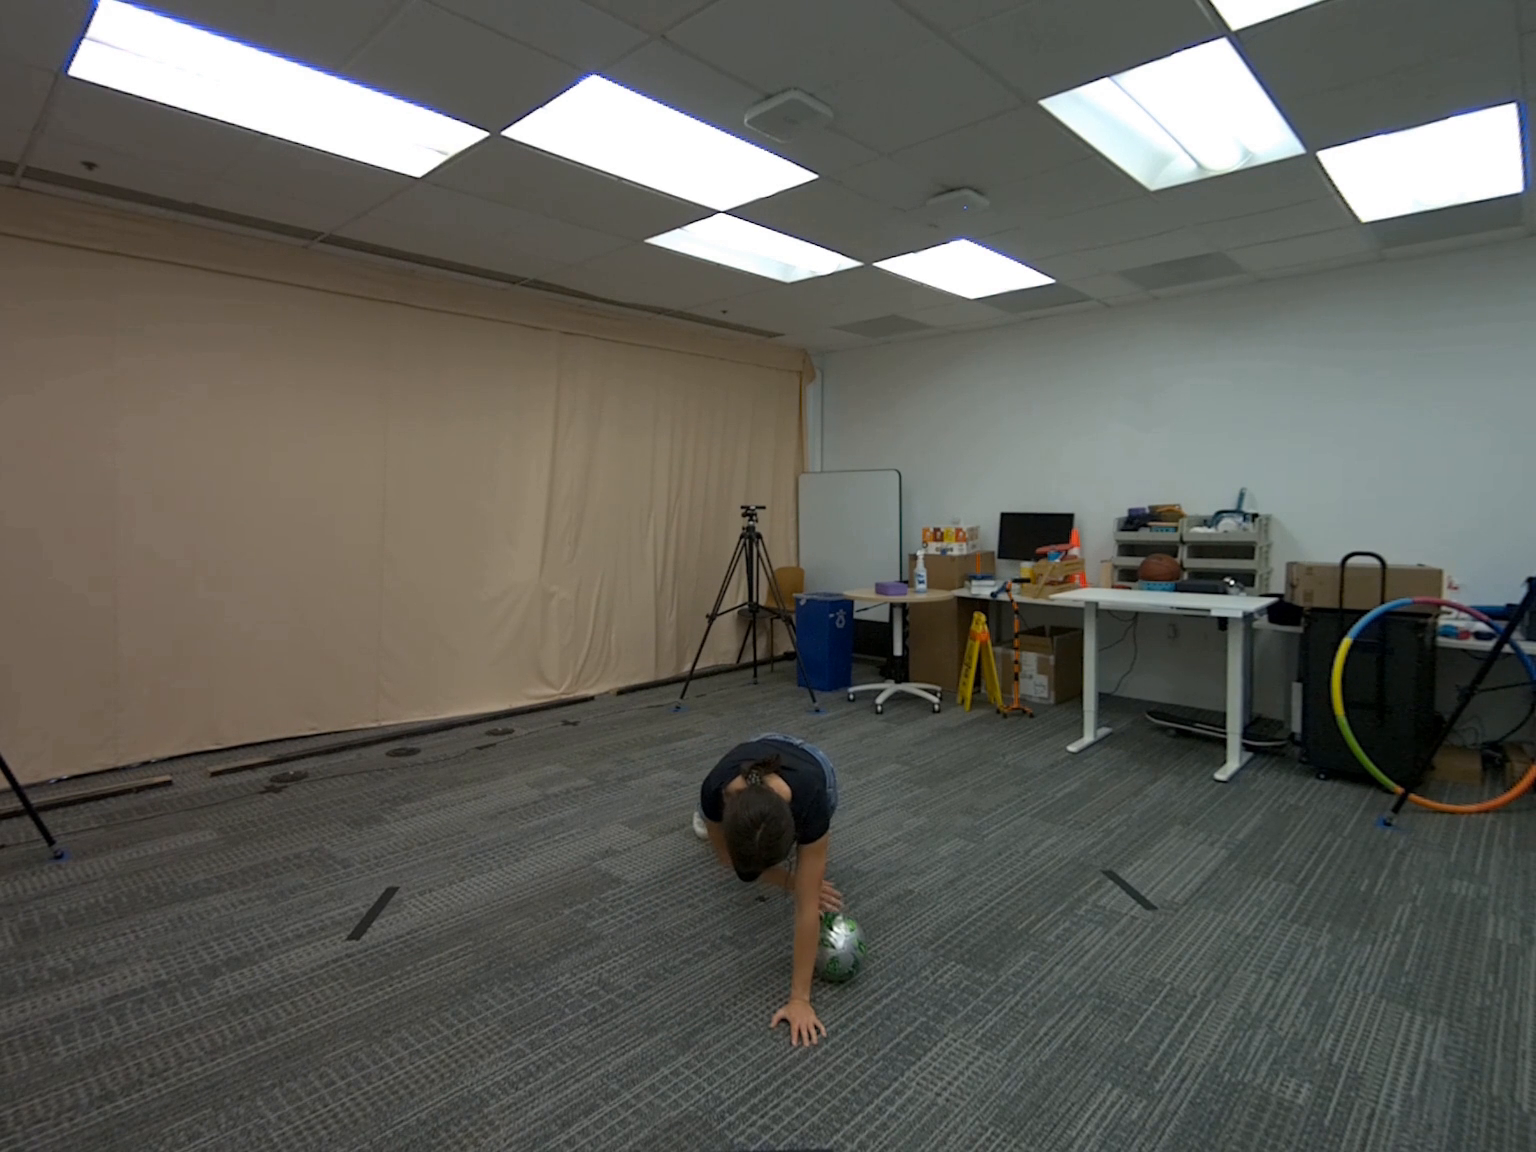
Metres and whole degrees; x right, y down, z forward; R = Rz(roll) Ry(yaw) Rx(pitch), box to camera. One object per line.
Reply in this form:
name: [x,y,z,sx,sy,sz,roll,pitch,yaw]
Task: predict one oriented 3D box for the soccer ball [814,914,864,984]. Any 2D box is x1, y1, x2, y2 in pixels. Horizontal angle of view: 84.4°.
soccer ball: [0.197,1.090,2.485,0.187,0.187,0.188,0,4,-2]
